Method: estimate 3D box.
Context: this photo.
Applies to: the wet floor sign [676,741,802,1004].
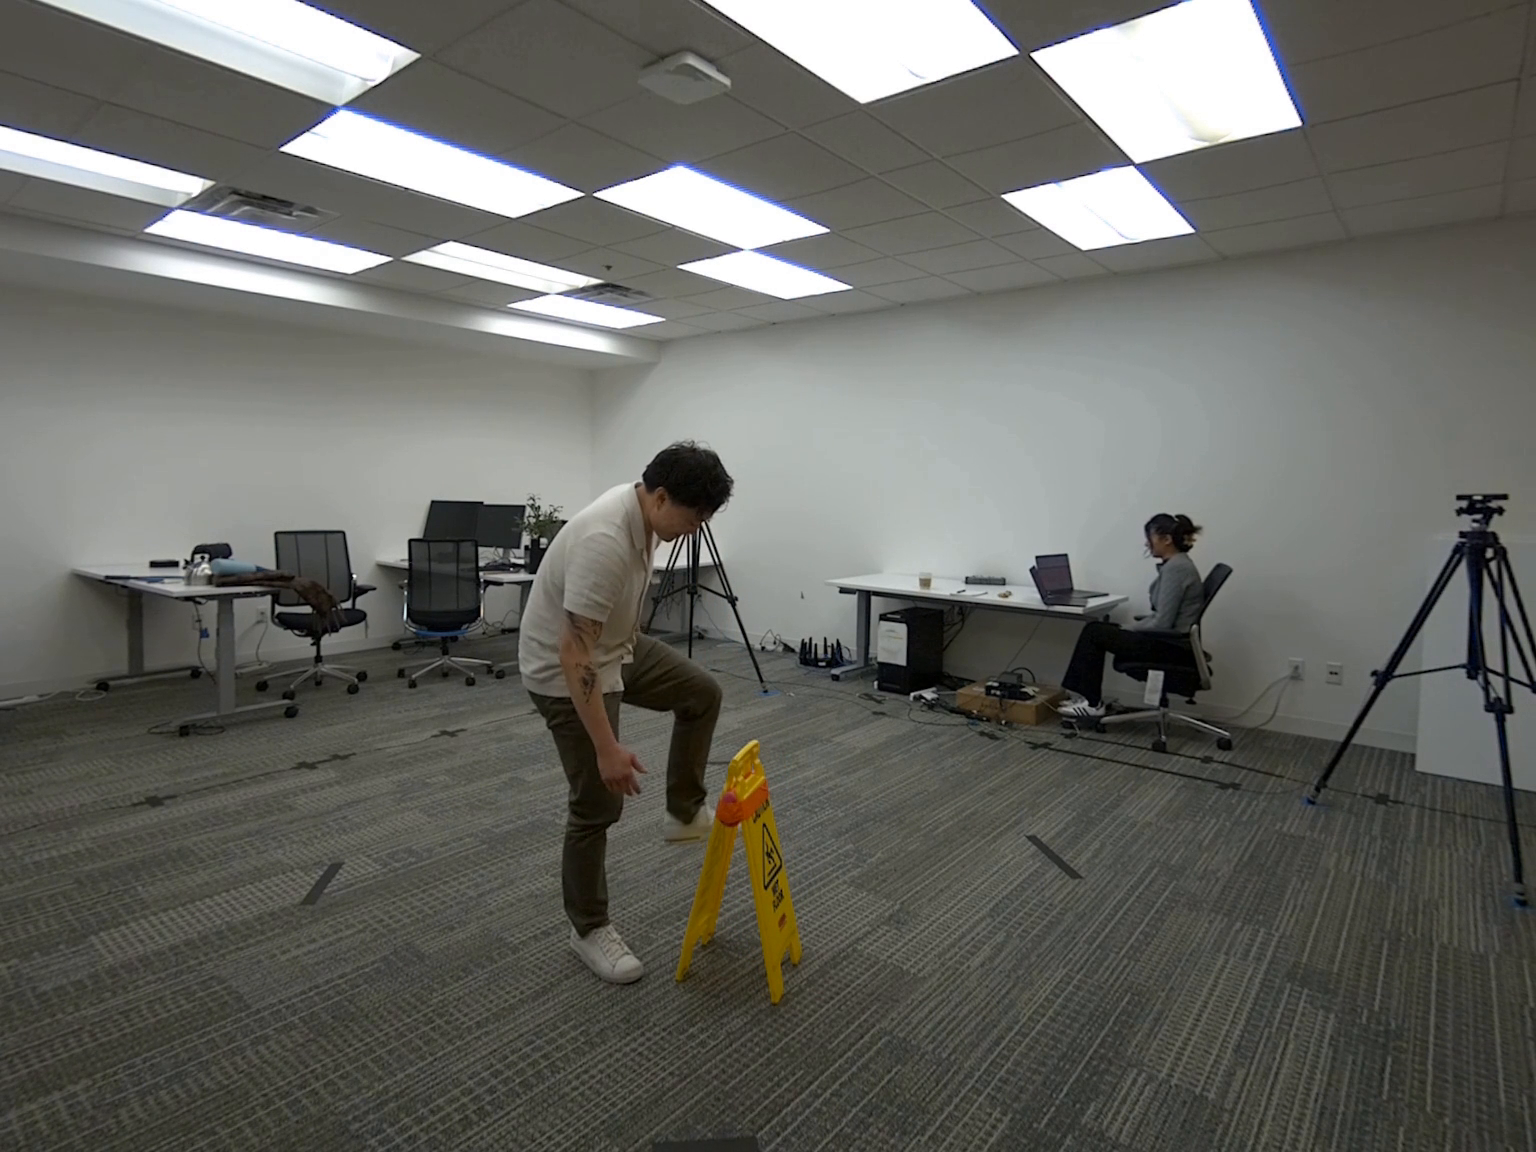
[{"bbox_3d":[-0.080,0.811,2.445,0.296,0.643,0.278,2,5,19],"label":"wet floor sign"}]
